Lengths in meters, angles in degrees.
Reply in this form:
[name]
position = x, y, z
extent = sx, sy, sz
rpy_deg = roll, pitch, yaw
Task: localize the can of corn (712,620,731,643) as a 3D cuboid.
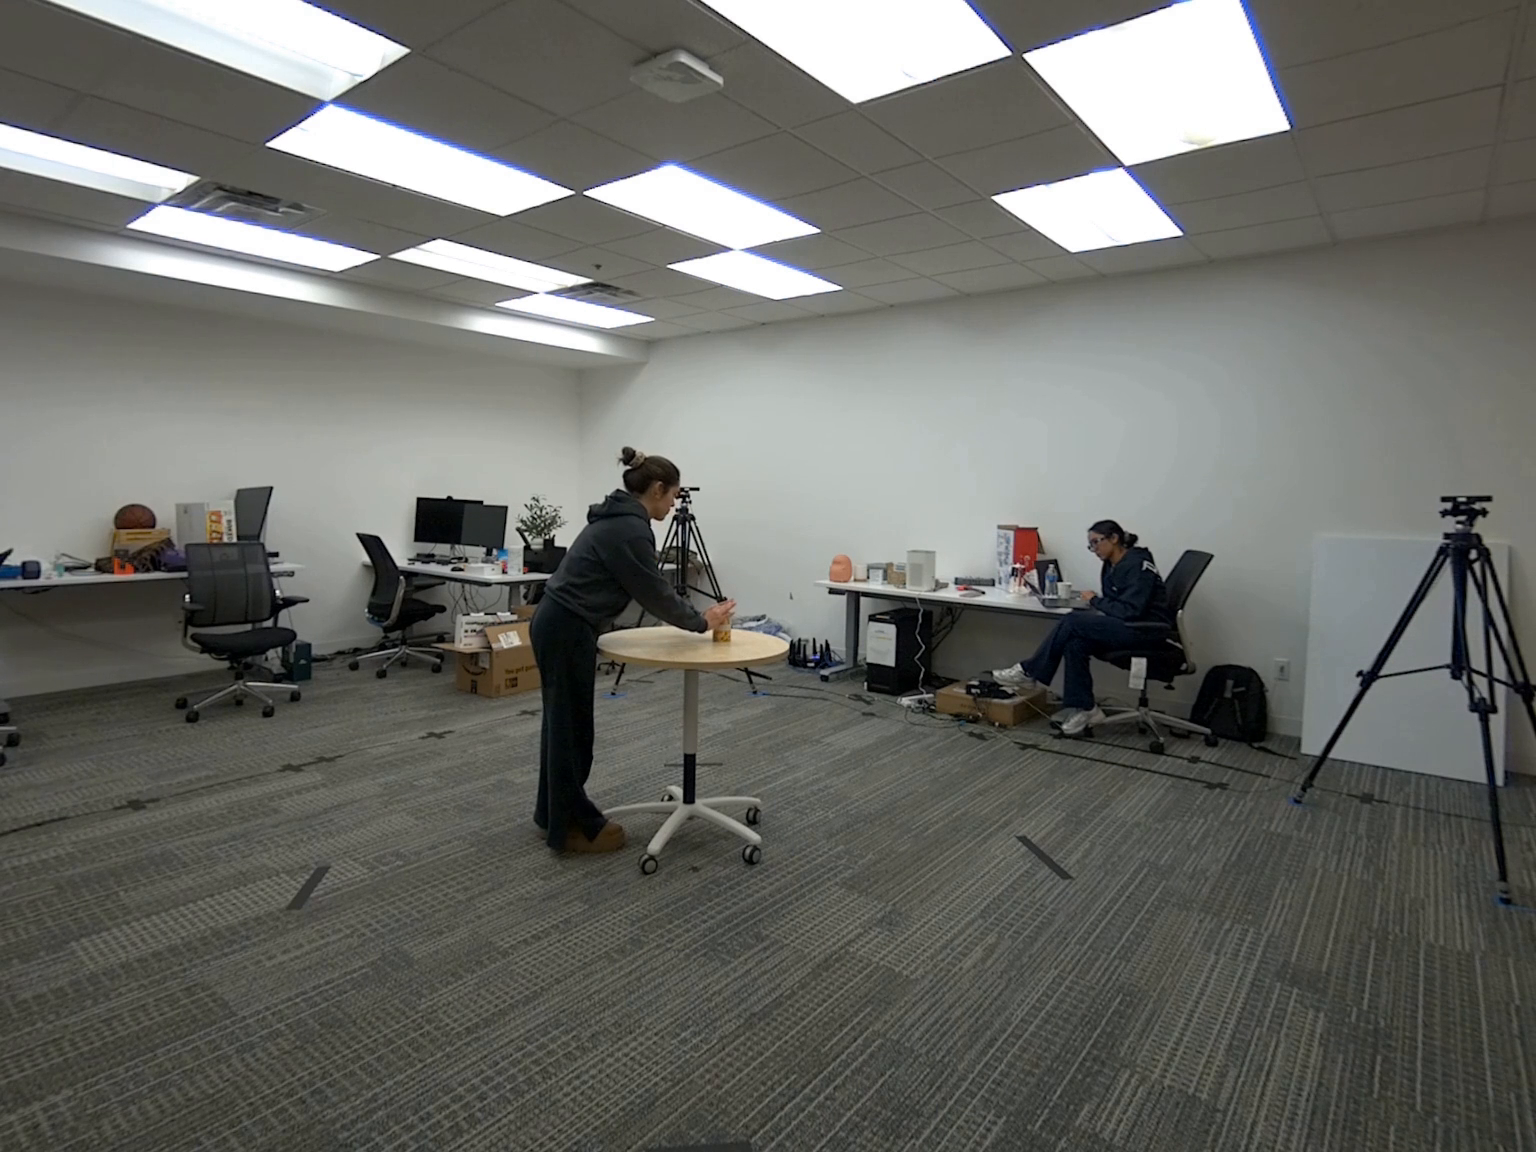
[can of corn]
position = -0.194, 0.207, 3.398
extent = 0.074, 0.111, 0.074
rpy_deg = -1, 2, -2
